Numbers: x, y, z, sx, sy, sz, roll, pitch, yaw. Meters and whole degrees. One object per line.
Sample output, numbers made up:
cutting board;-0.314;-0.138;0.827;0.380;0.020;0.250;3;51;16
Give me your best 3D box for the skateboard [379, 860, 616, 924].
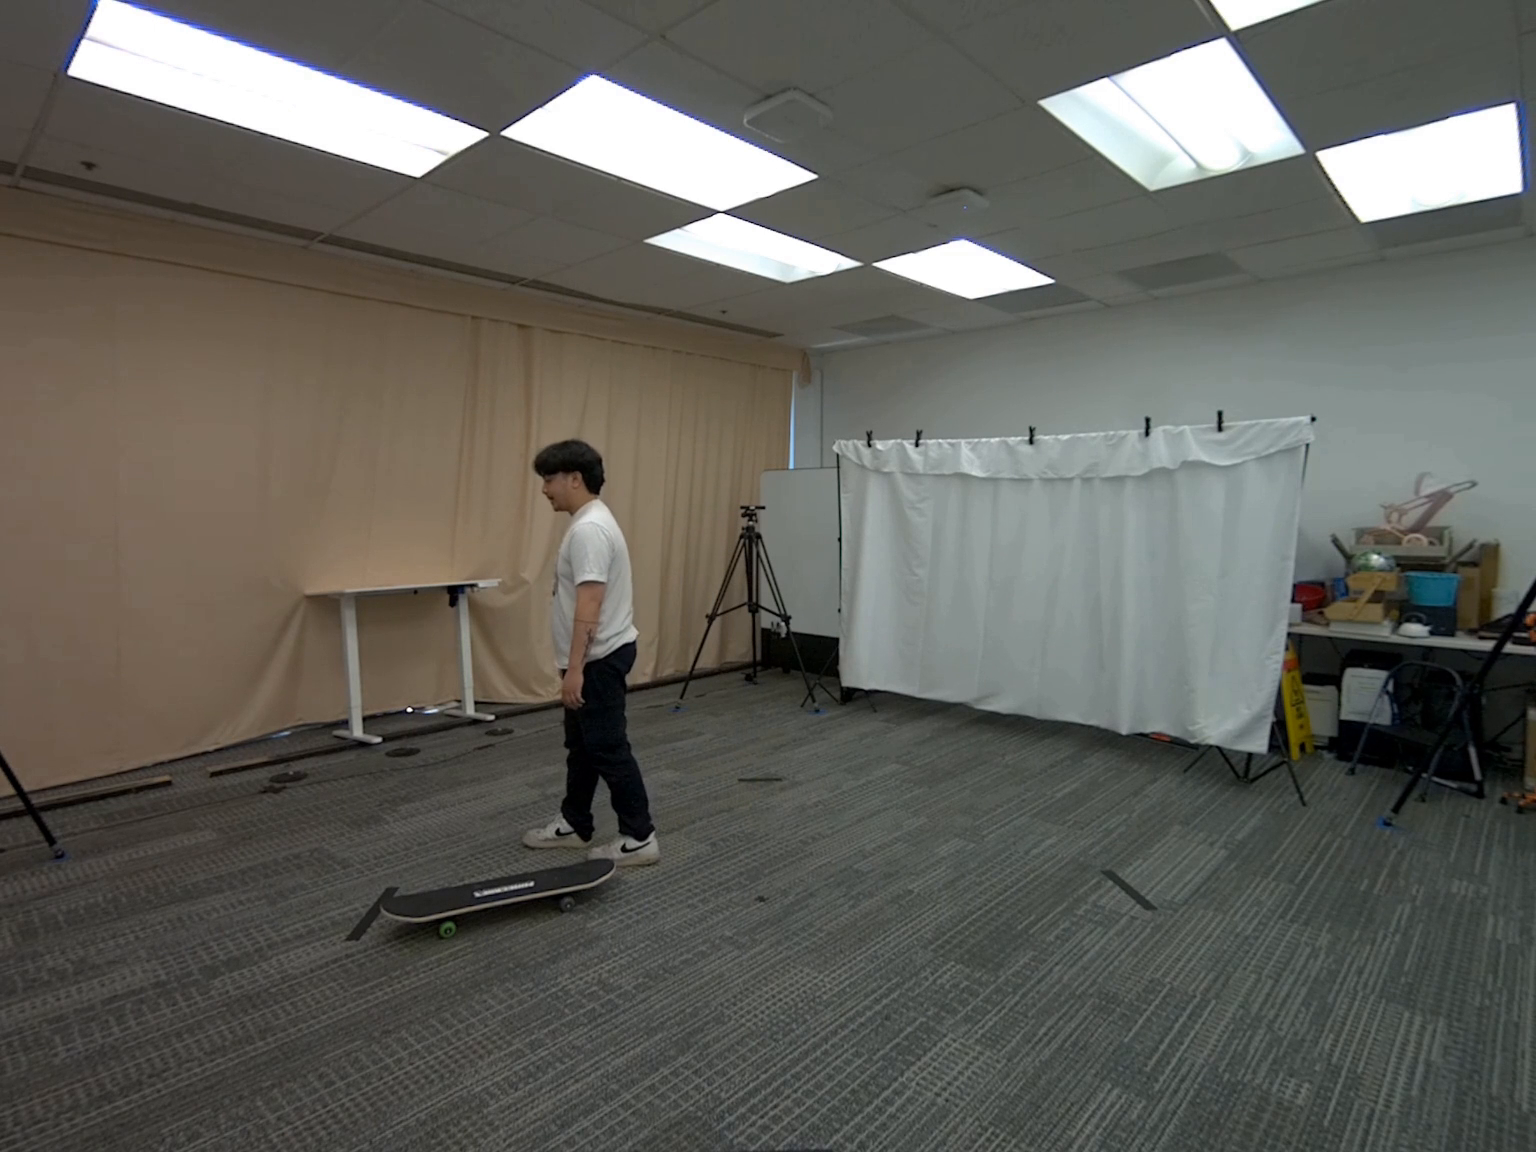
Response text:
skateboard;-0.901;1.106;2.883;0.767;0.110;0.198;-2;5;-24
